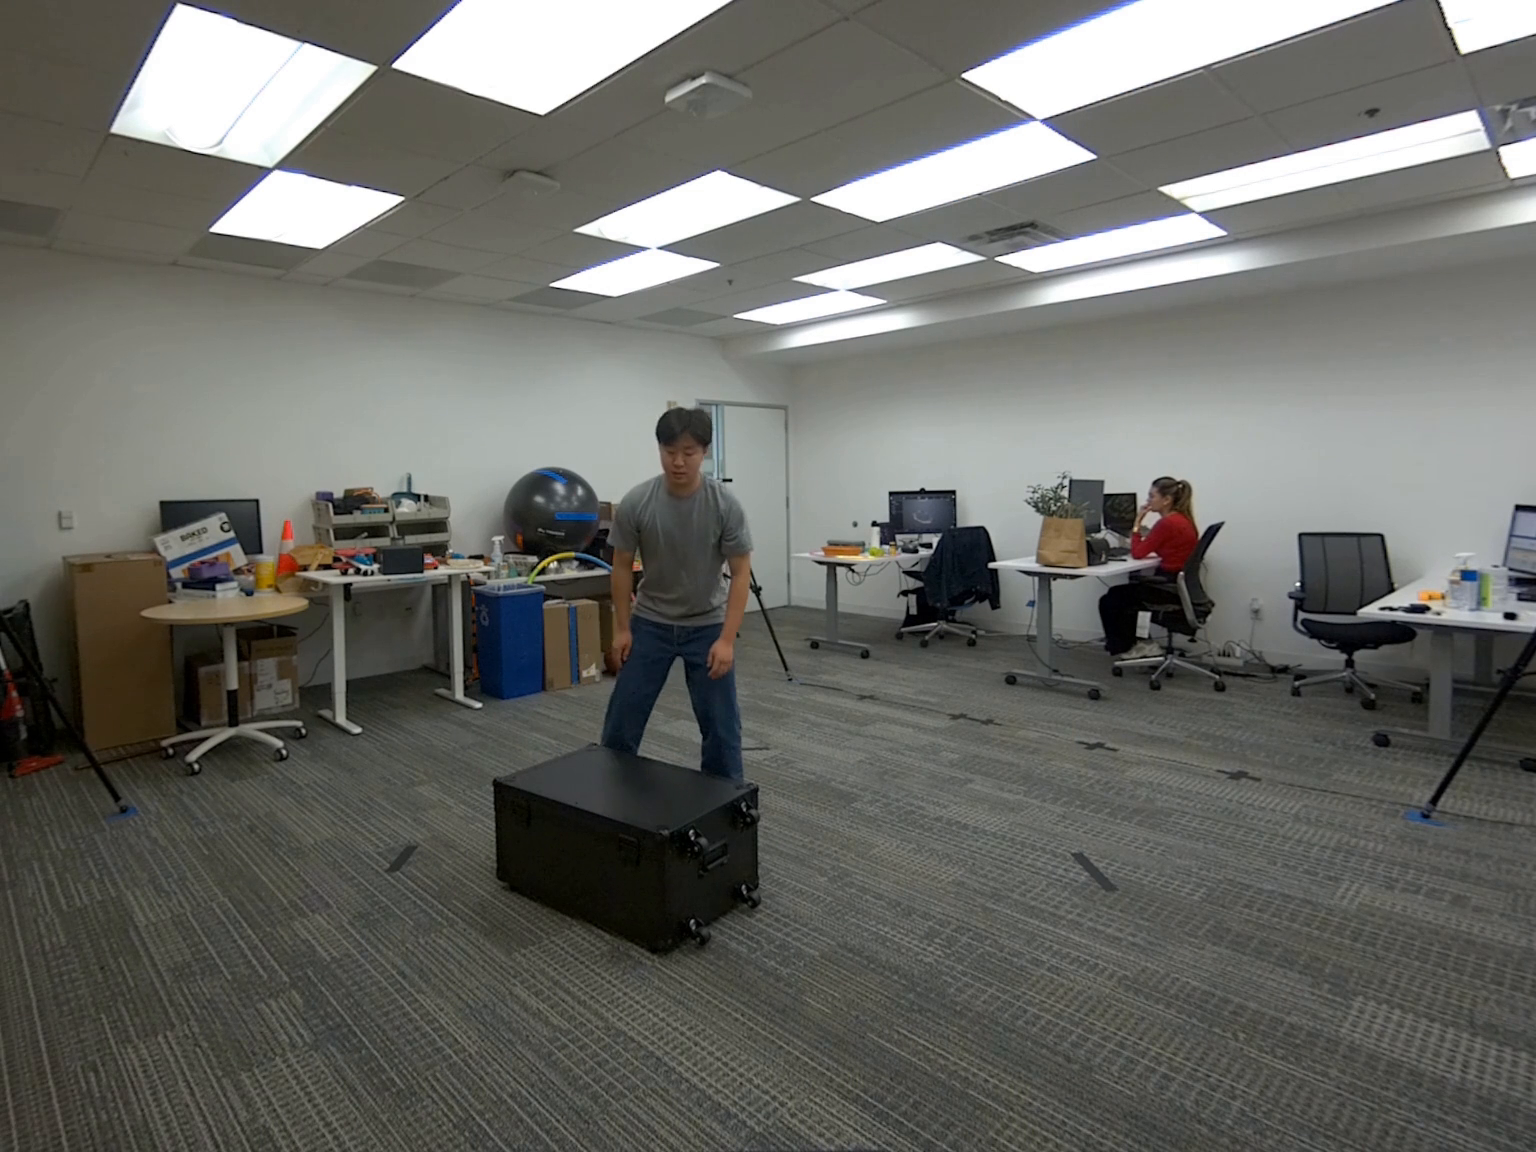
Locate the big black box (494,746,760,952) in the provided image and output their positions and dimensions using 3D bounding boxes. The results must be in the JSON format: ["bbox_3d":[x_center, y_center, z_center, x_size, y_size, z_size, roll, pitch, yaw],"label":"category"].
[{"bbox_3d":[-0.458,0.894,2.887,0.886,0.394,0.509,3,8,35],"label":"big black box"}]
